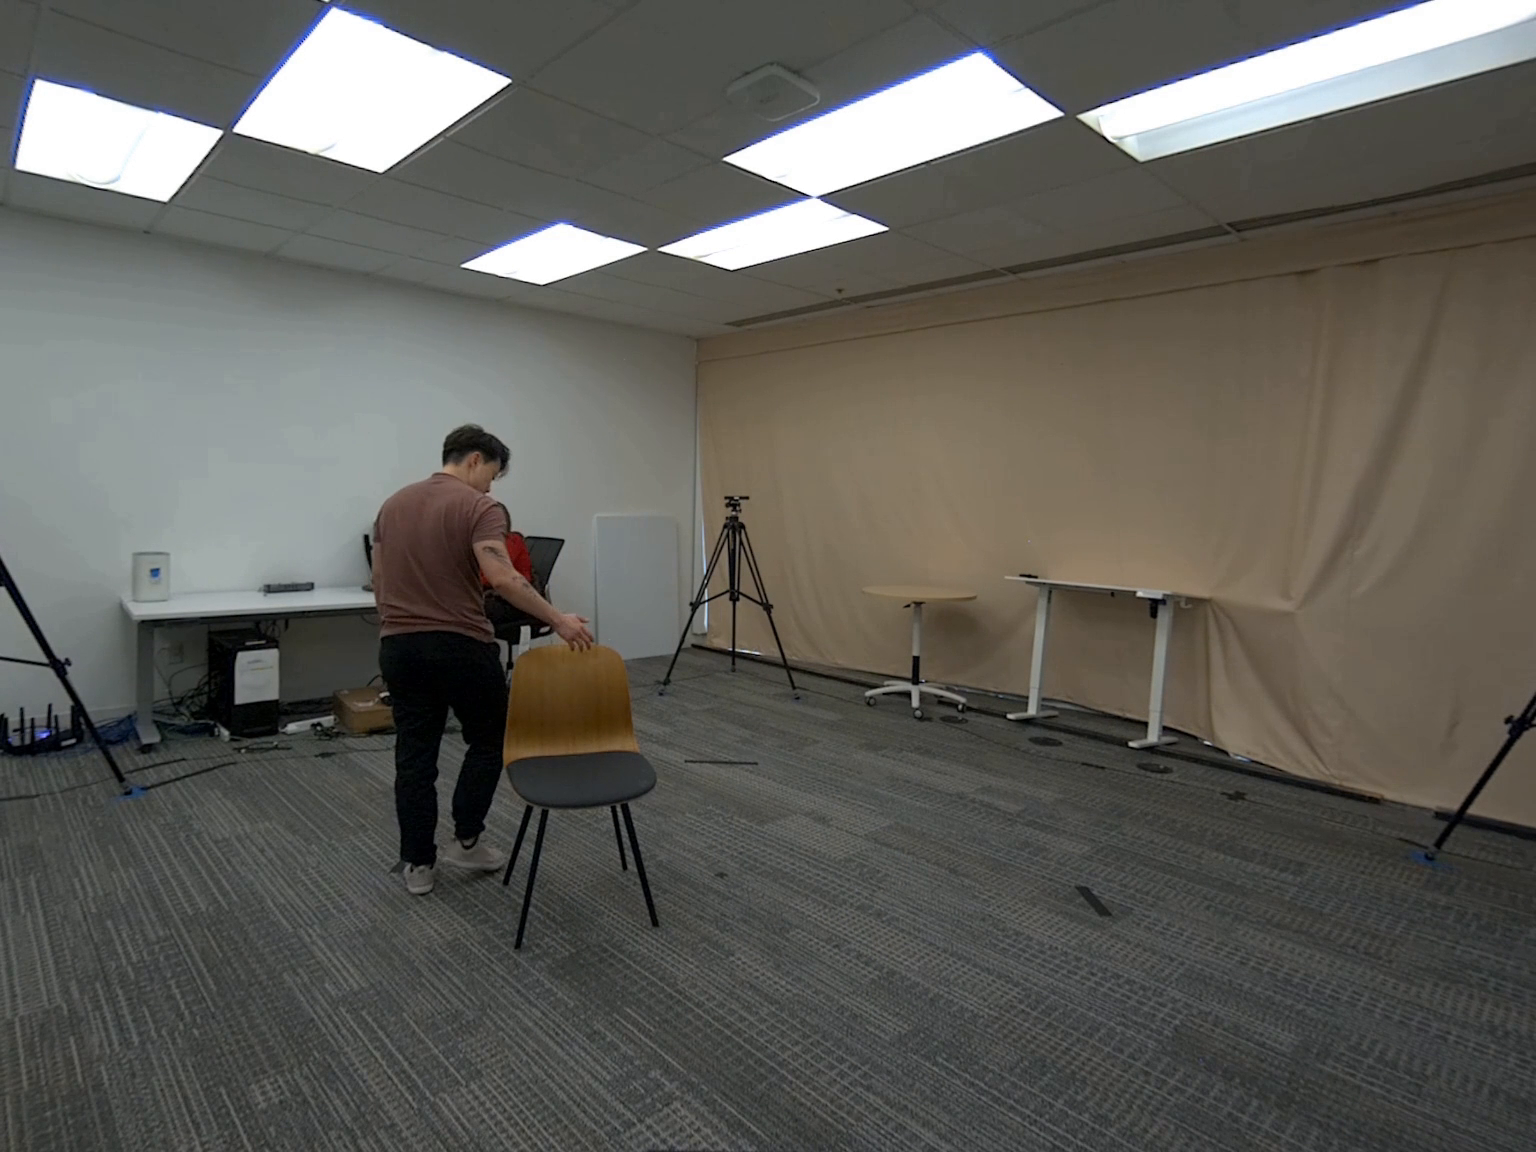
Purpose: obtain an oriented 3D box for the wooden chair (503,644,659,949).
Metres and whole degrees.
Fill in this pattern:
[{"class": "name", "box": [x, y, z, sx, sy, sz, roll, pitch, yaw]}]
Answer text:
[{"class": "wooden chair", "box": [-0.636, 0.694, 2.808, 0.470, 0.878, 0.531, 0, 0, -22]}]
